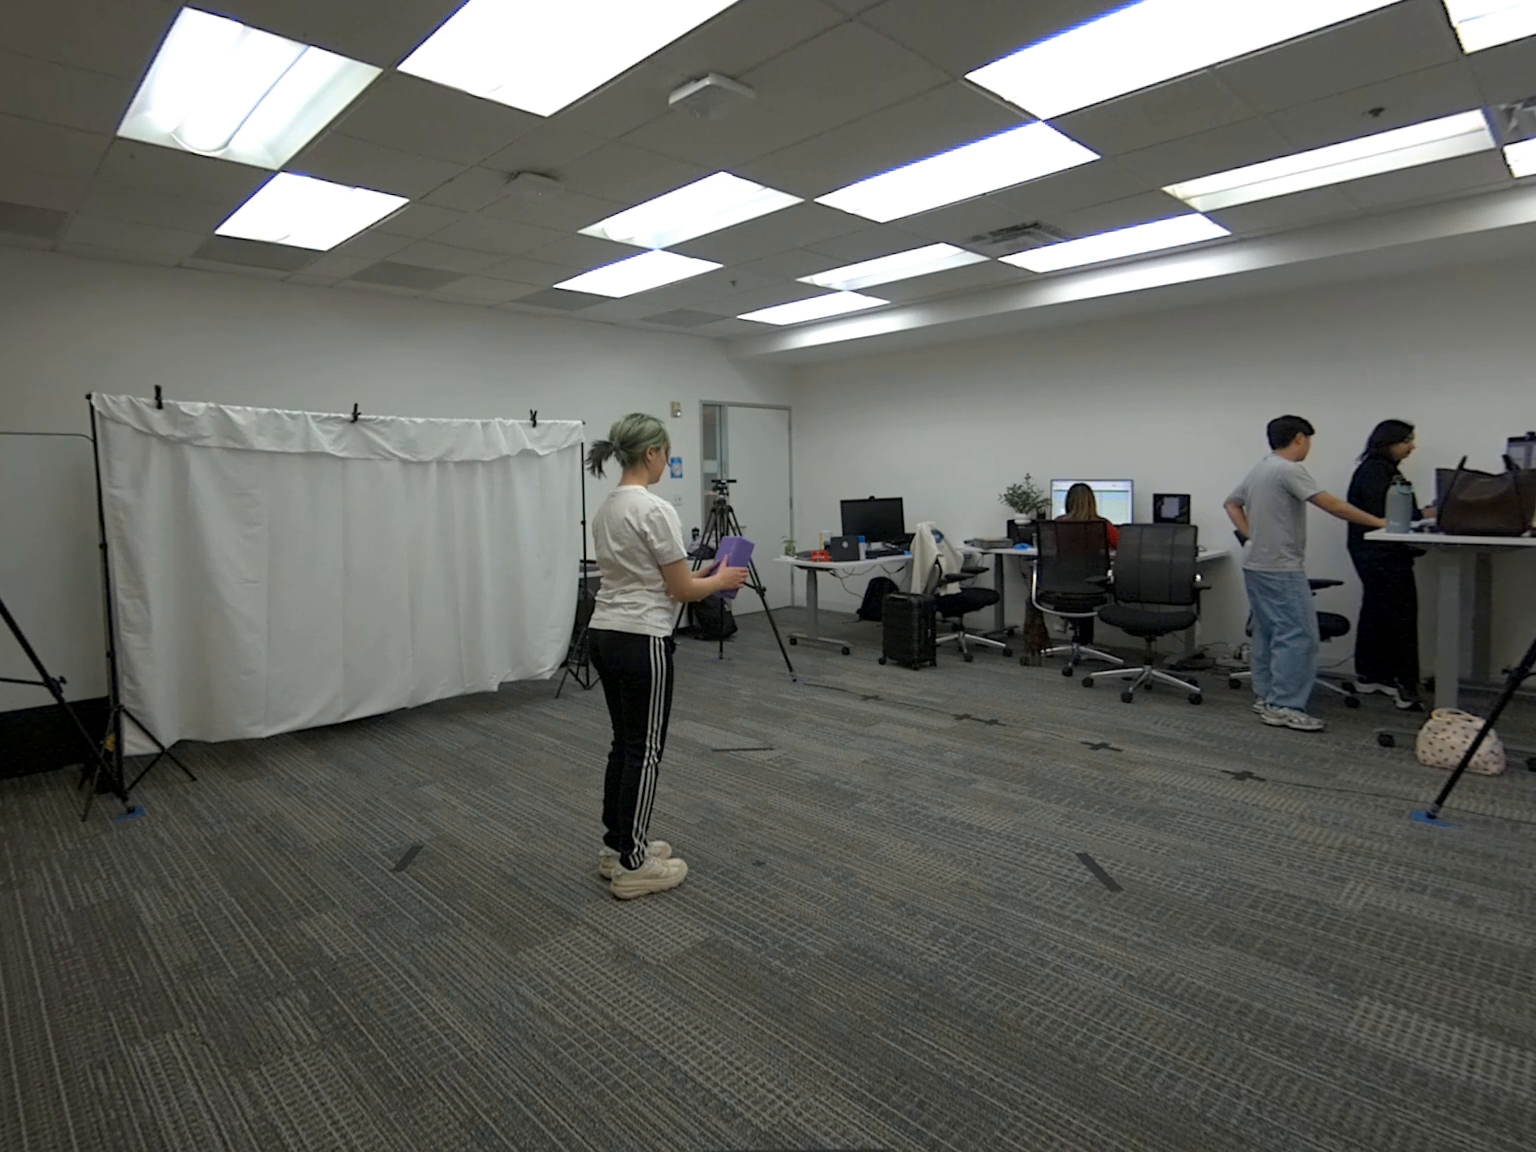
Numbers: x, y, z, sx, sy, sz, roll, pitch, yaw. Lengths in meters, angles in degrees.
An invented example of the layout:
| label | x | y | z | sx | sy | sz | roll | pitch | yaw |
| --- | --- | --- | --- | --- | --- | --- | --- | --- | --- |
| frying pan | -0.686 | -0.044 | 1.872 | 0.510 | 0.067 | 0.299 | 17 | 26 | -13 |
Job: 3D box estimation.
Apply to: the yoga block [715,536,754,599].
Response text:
| label | x | y | z | sx | sy | sz | roll | pitch | yaw |
| --- | --- | --- | --- | --- | --- | --- | --- | --- | --- |
| yoga block | -0.146 | -0.030 | 3.255 | 0.074 | 0.230 | 0.153 | 26 | -11 | -27 |
